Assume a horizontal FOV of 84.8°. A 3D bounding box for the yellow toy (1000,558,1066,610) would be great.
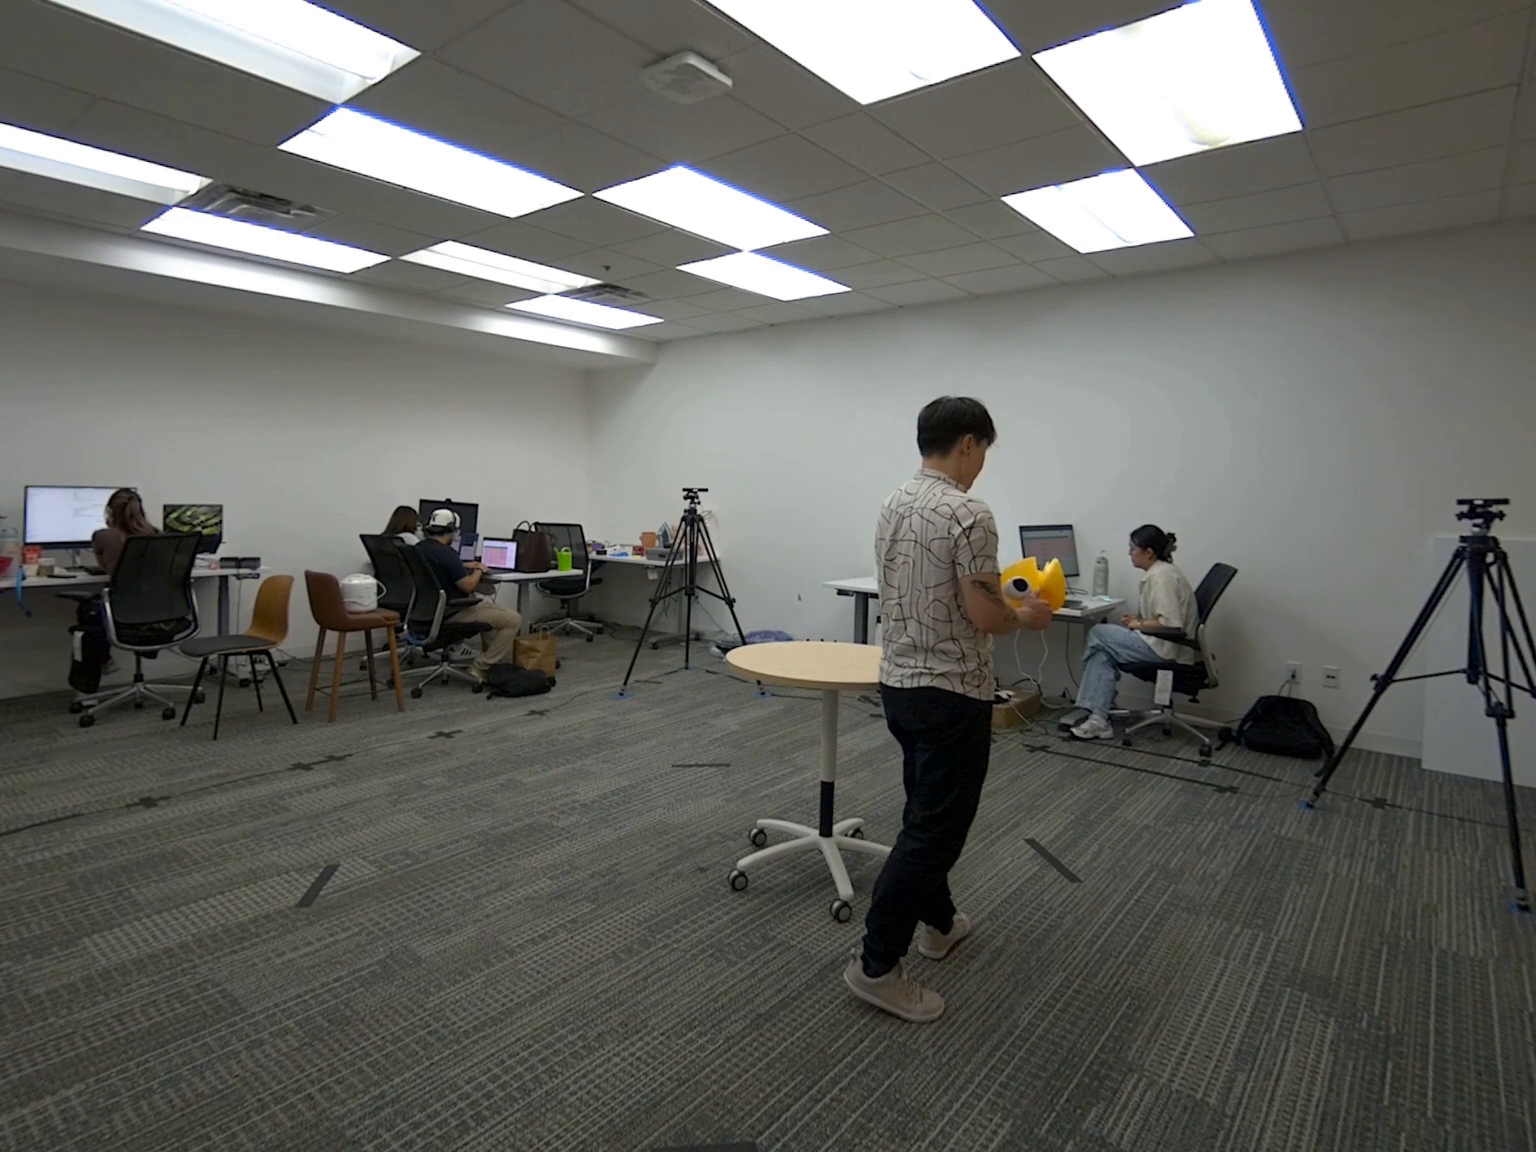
[{"bbox_3d":[0.715,0.039,2.535,0.226,0.193,0.208,2,-2,-18],"label":"yellow toy"}]
